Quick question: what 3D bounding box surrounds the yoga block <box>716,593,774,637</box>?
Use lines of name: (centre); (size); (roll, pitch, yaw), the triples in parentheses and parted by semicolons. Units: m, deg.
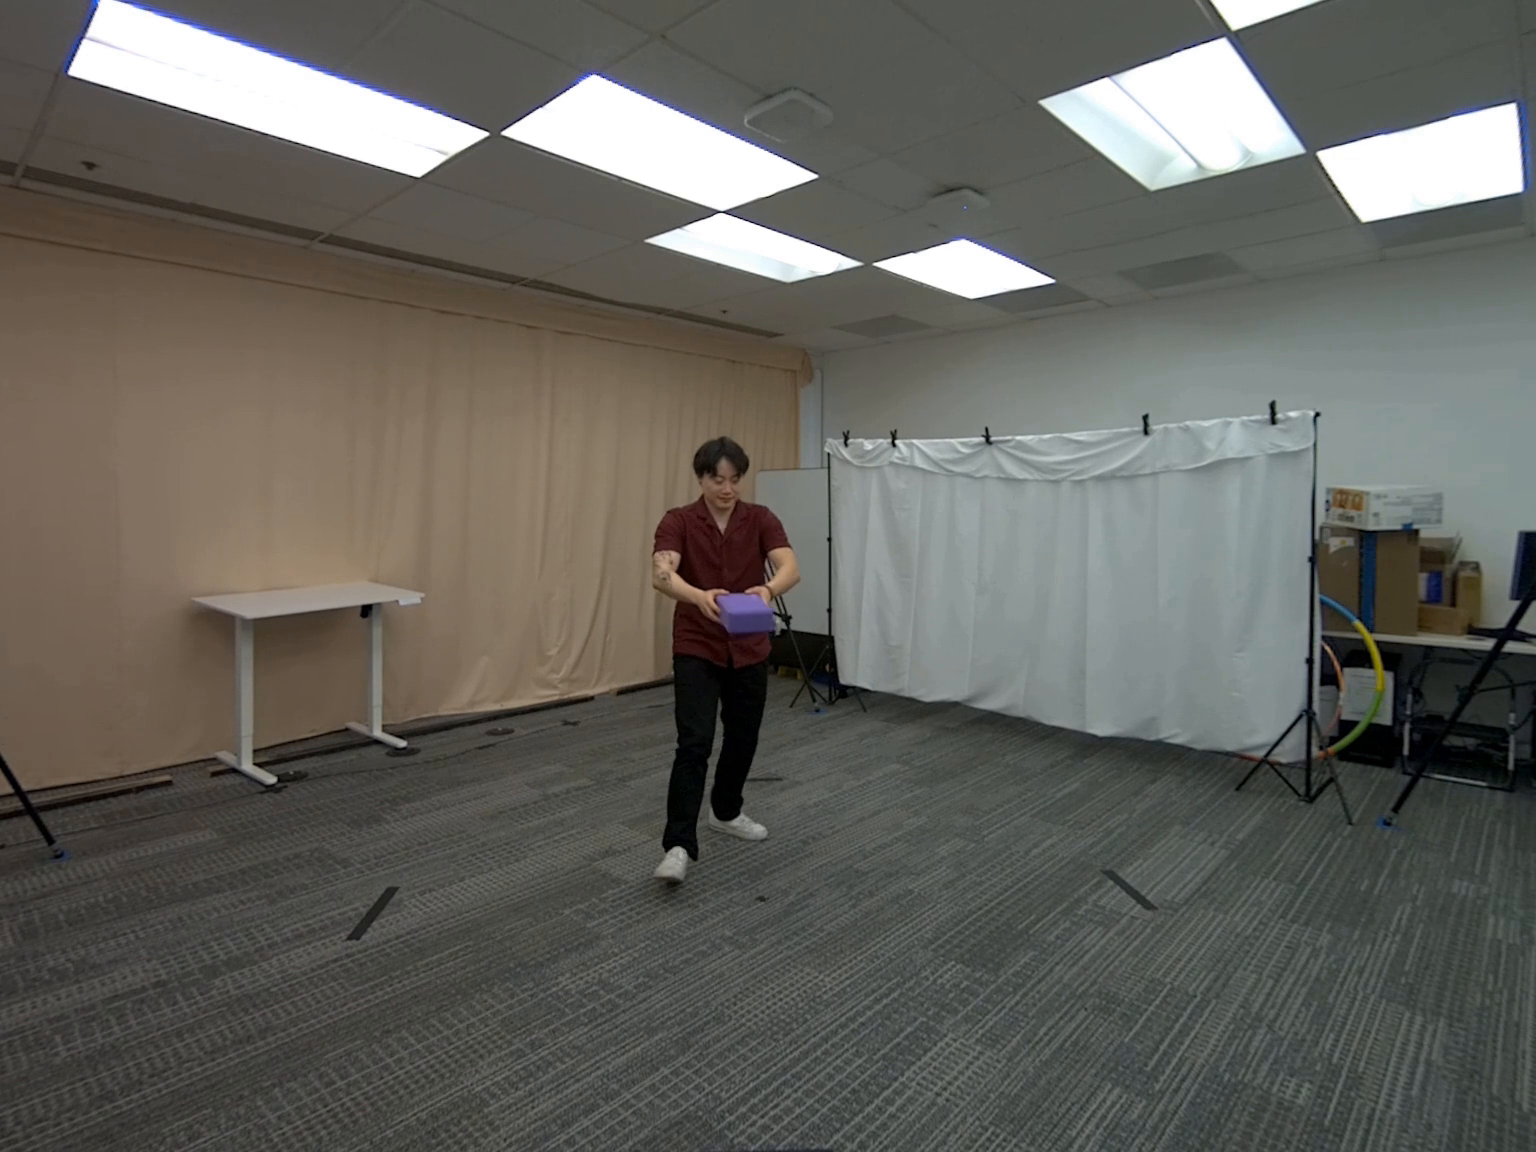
yoga block: (-0.091, 0.129, 2.807); (0.148, 0.076, 0.233); (-3, 13, -8)
